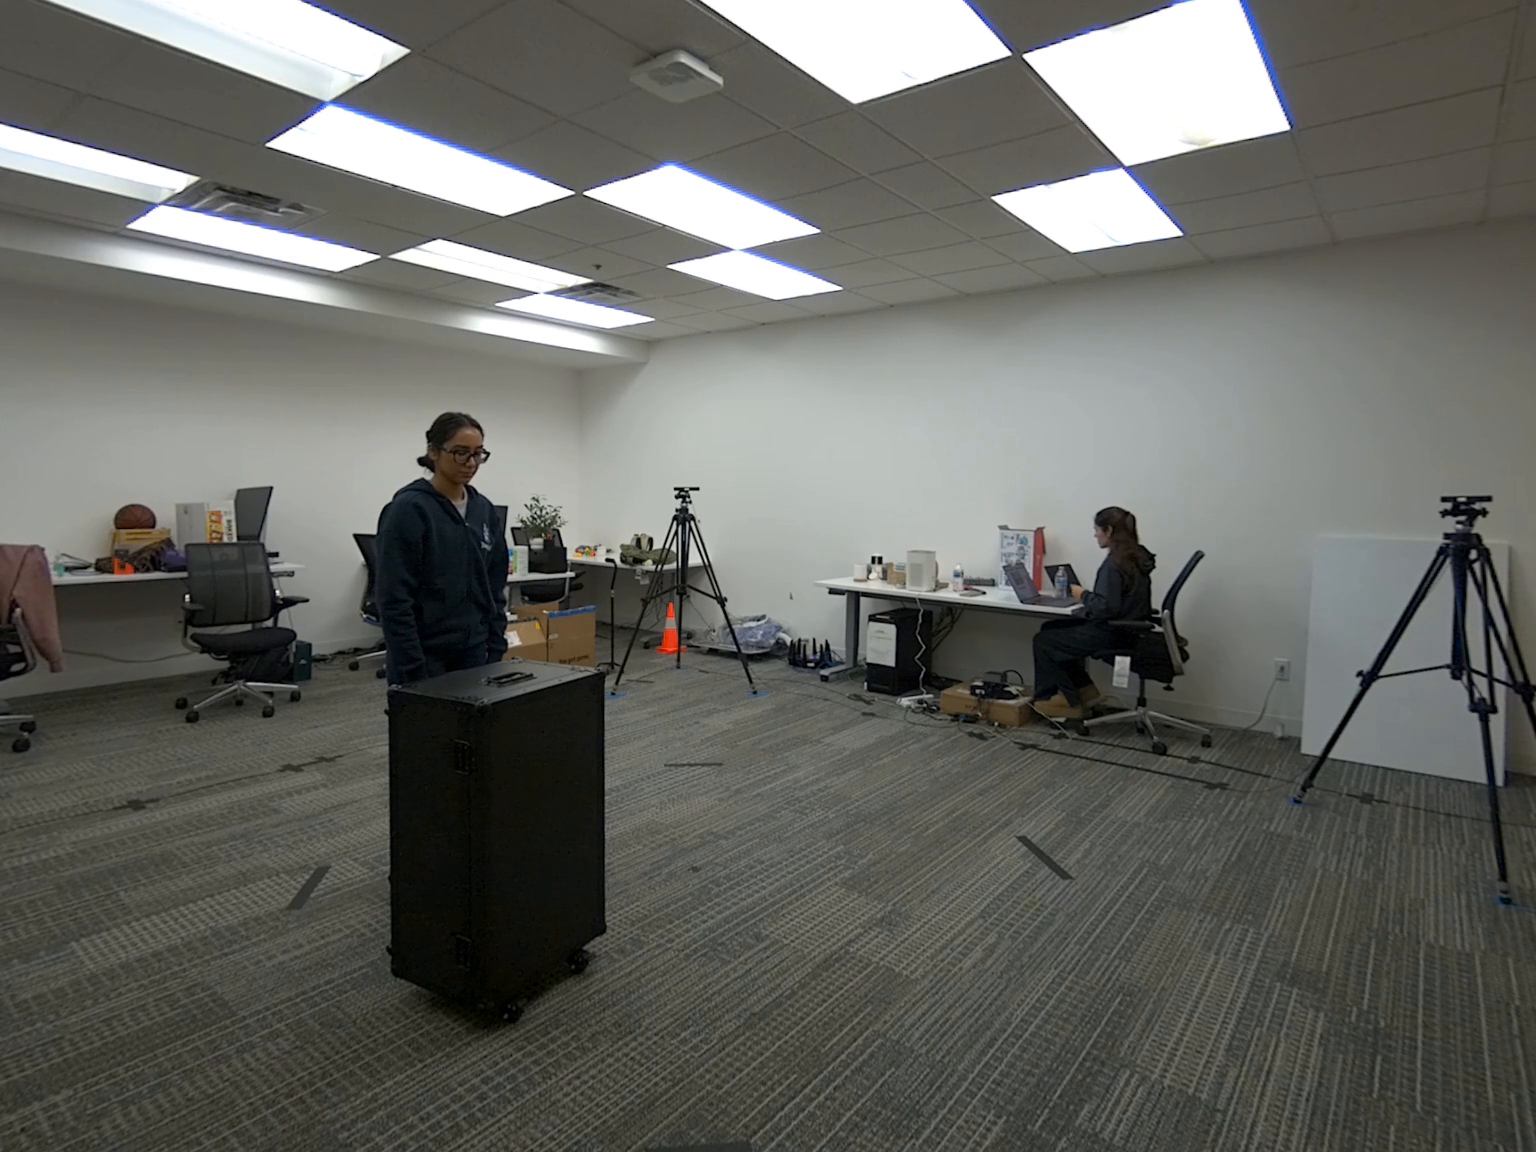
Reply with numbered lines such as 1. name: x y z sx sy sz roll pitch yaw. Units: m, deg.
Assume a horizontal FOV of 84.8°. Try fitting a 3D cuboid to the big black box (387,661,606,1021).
1. big black box: -0.765 0.704 2.382 0.407 0.860 0.508 1 3 30
